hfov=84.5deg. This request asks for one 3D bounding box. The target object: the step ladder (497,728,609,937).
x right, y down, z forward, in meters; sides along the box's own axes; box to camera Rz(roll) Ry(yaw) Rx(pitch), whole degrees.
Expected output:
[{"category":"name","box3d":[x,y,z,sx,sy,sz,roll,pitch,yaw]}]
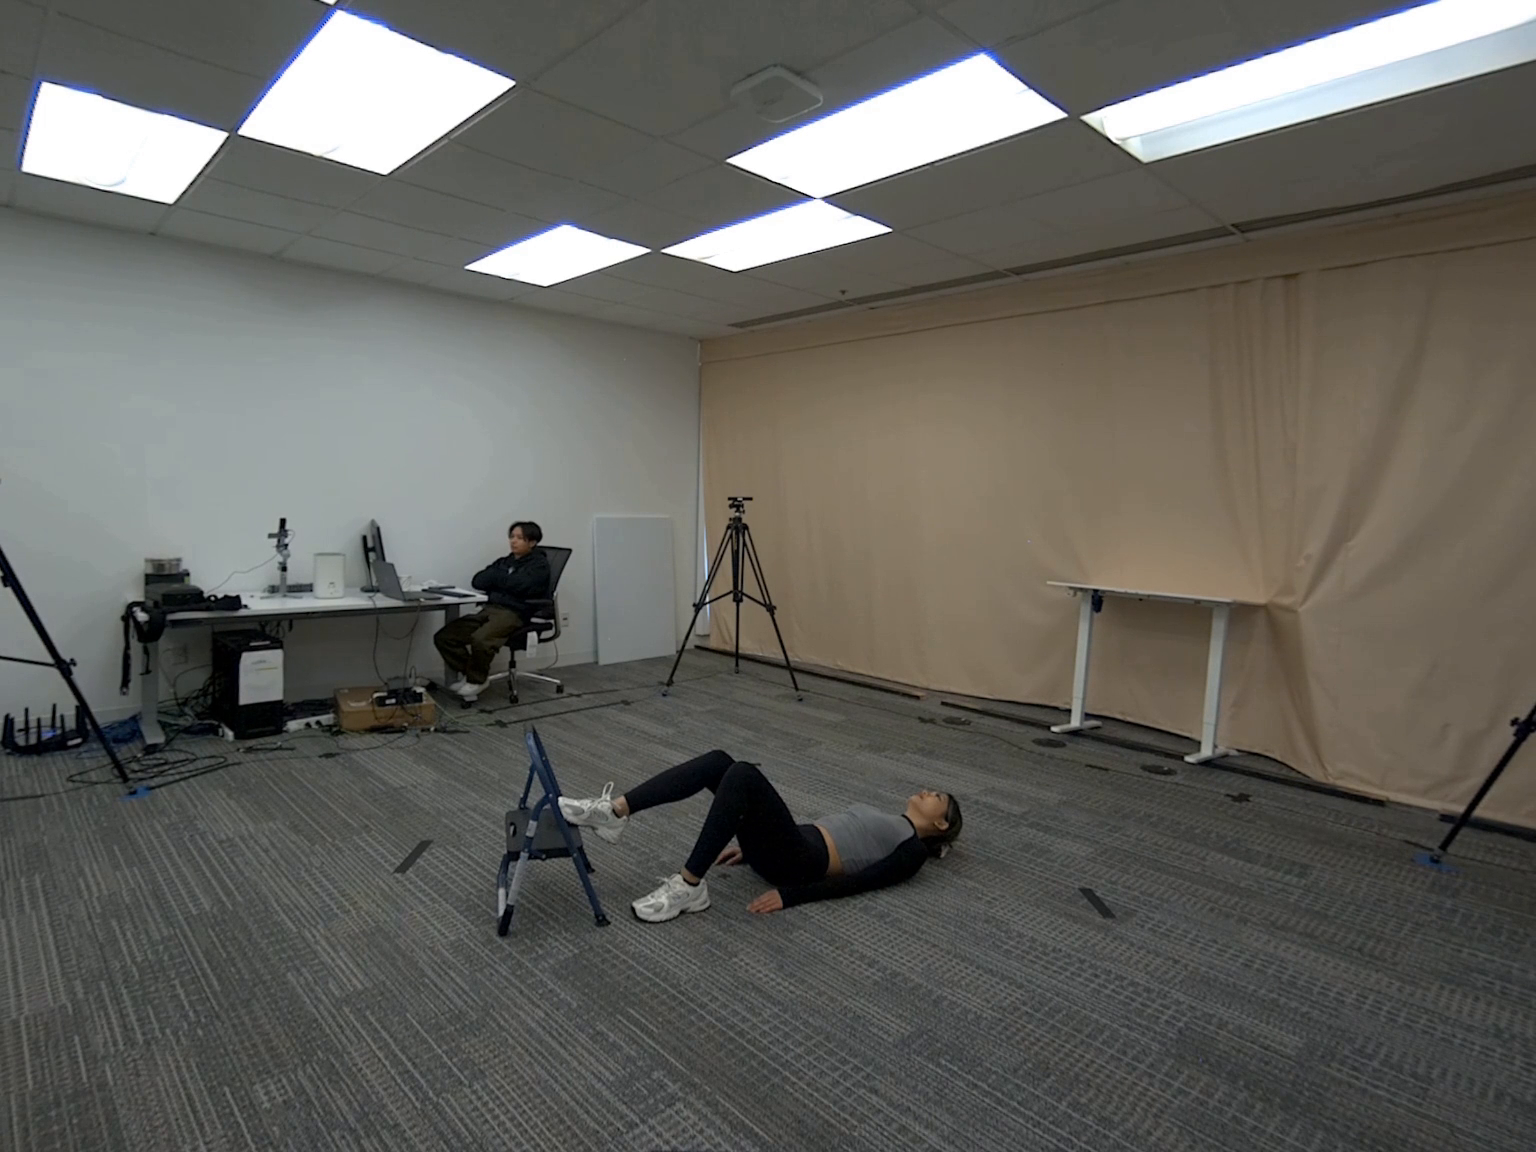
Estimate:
[{"category":"step ladder","box3d":[-0.744,0.817,2.861,0.344,0.605,0.438,1,3,-19]}]
